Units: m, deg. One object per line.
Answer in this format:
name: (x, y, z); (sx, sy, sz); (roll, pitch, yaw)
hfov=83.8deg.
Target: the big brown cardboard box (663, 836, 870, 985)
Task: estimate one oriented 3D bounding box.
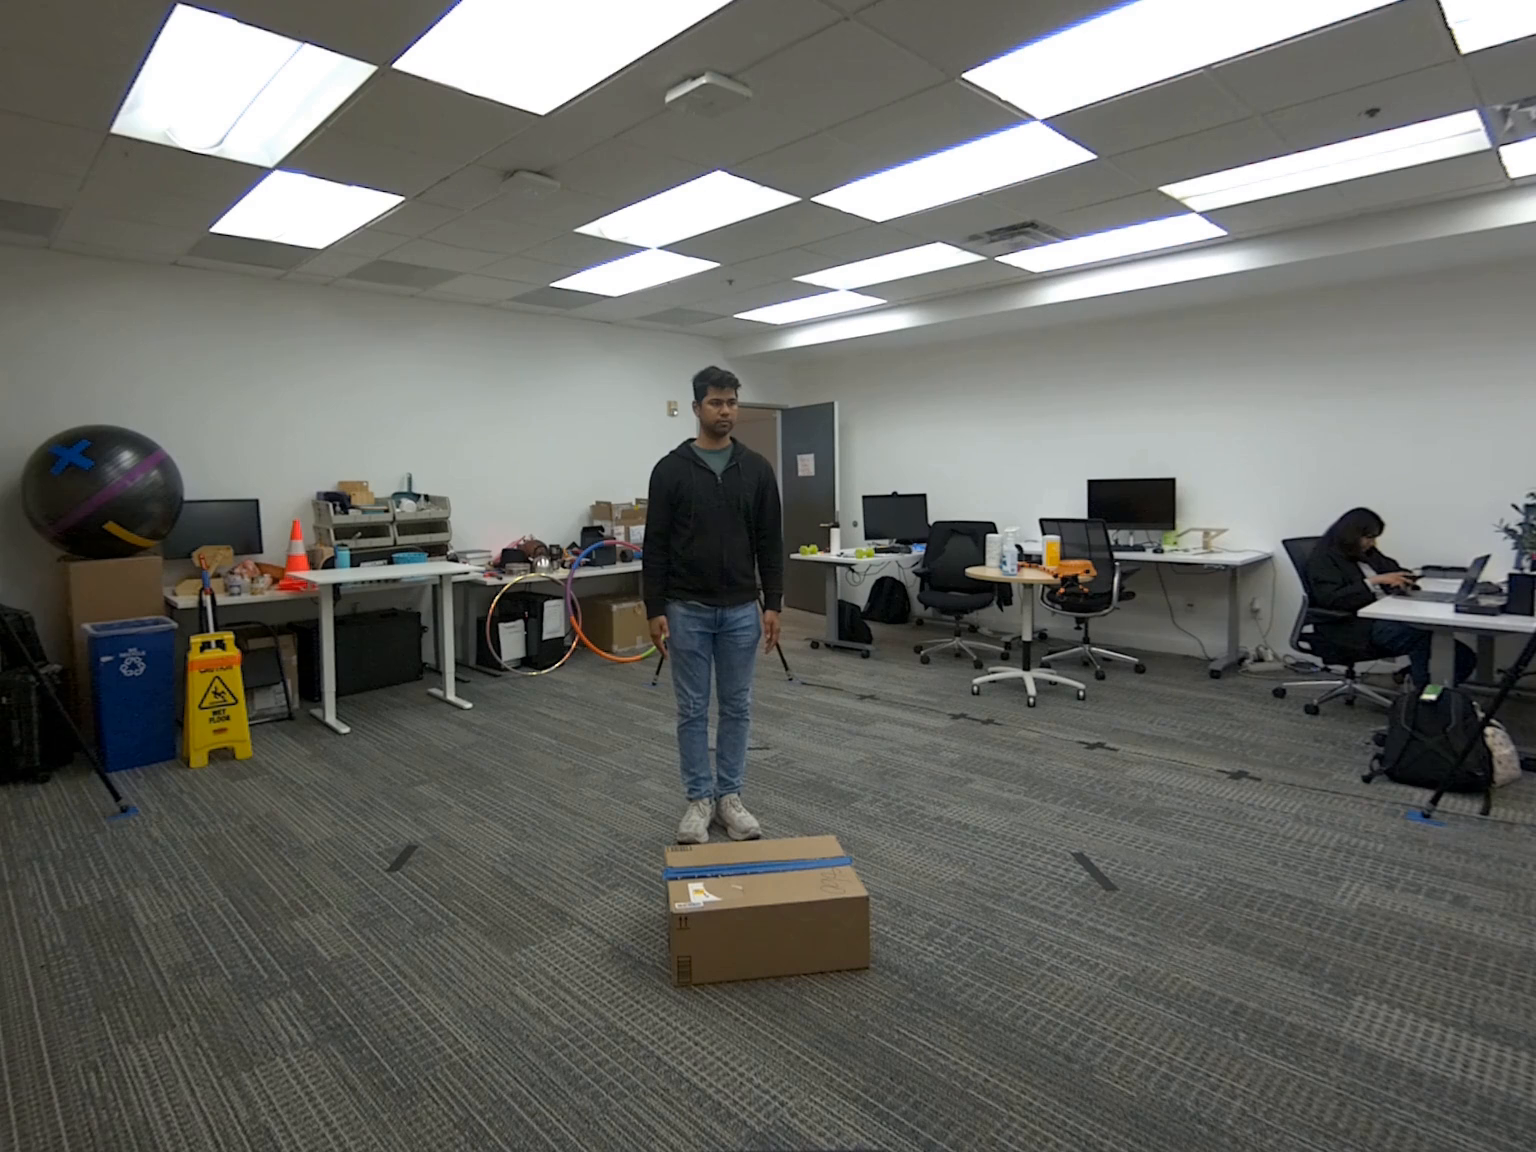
big brown cardboard box: (-0.024, 0.990, 2.590); (0.584, 0.232, 0.423); (-1, 6, -8)
